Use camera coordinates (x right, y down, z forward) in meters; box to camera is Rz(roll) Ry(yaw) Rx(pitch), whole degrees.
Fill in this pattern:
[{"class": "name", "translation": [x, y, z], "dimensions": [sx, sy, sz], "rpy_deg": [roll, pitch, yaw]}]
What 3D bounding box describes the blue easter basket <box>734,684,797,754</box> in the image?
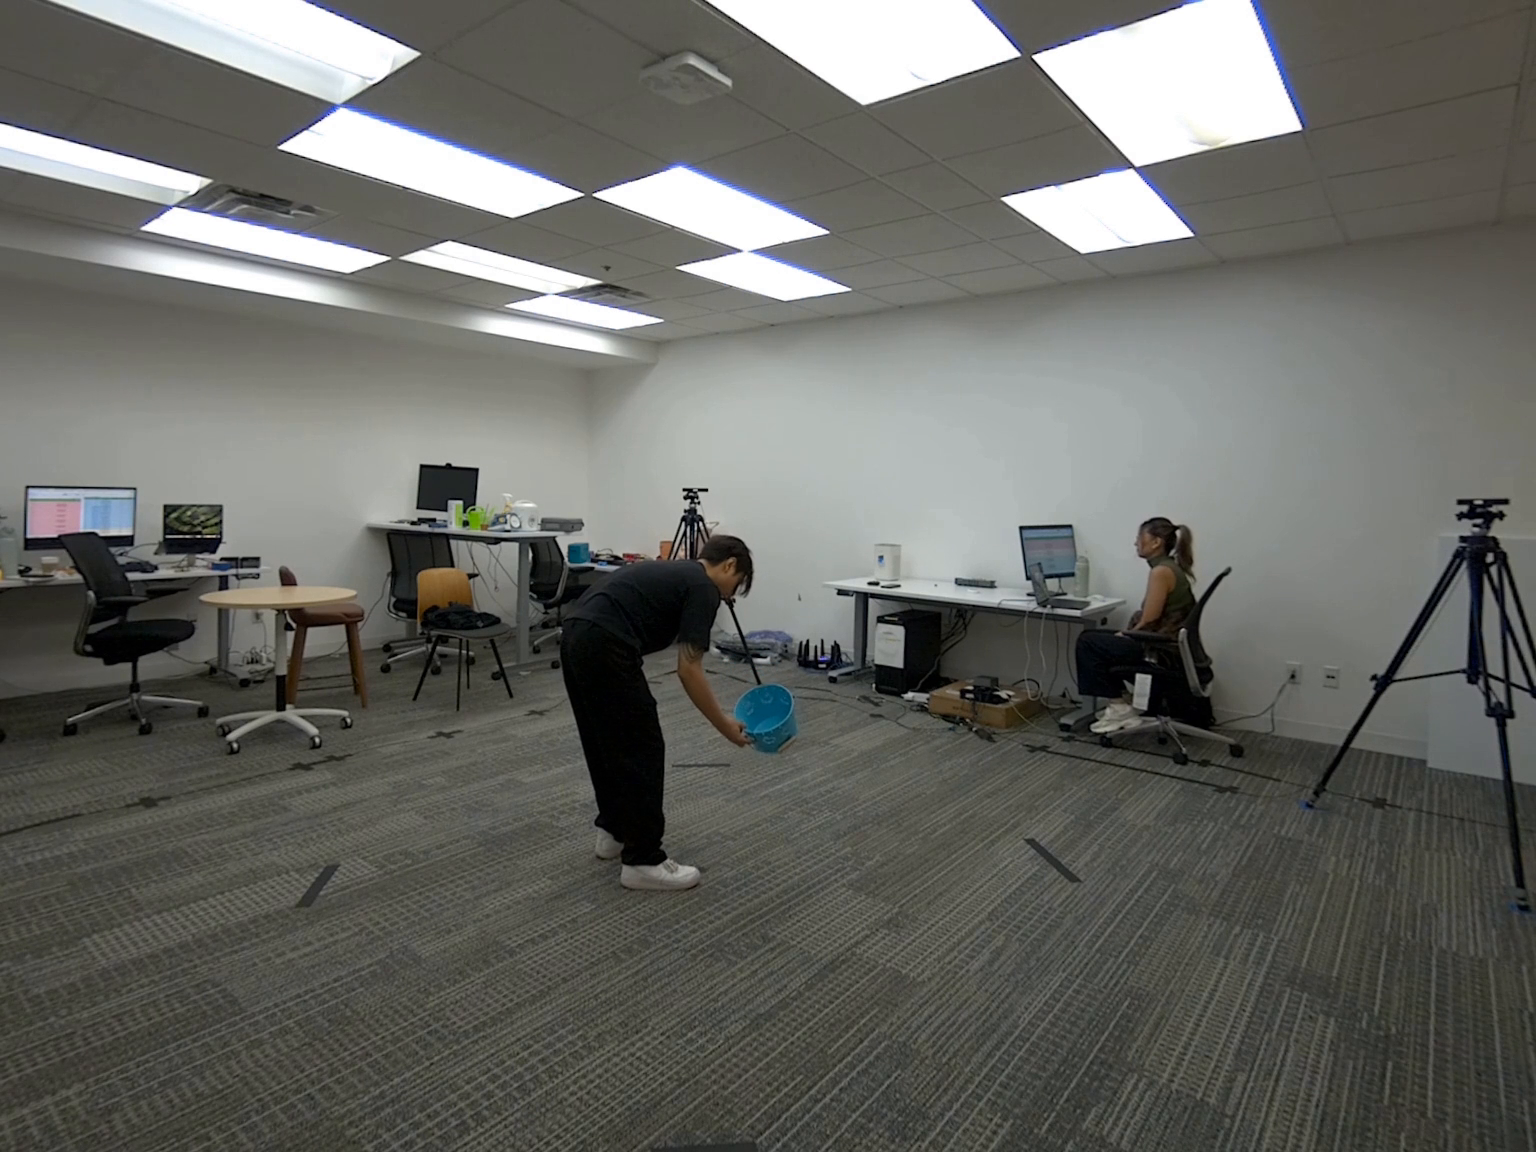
[{"class": "blue easter basket", "translation": [-0.009, 0.553, 3.153], "dimensions": [0.245, 0.150, 0.250], "rpy_deg": [-17, 33, 9]}]
